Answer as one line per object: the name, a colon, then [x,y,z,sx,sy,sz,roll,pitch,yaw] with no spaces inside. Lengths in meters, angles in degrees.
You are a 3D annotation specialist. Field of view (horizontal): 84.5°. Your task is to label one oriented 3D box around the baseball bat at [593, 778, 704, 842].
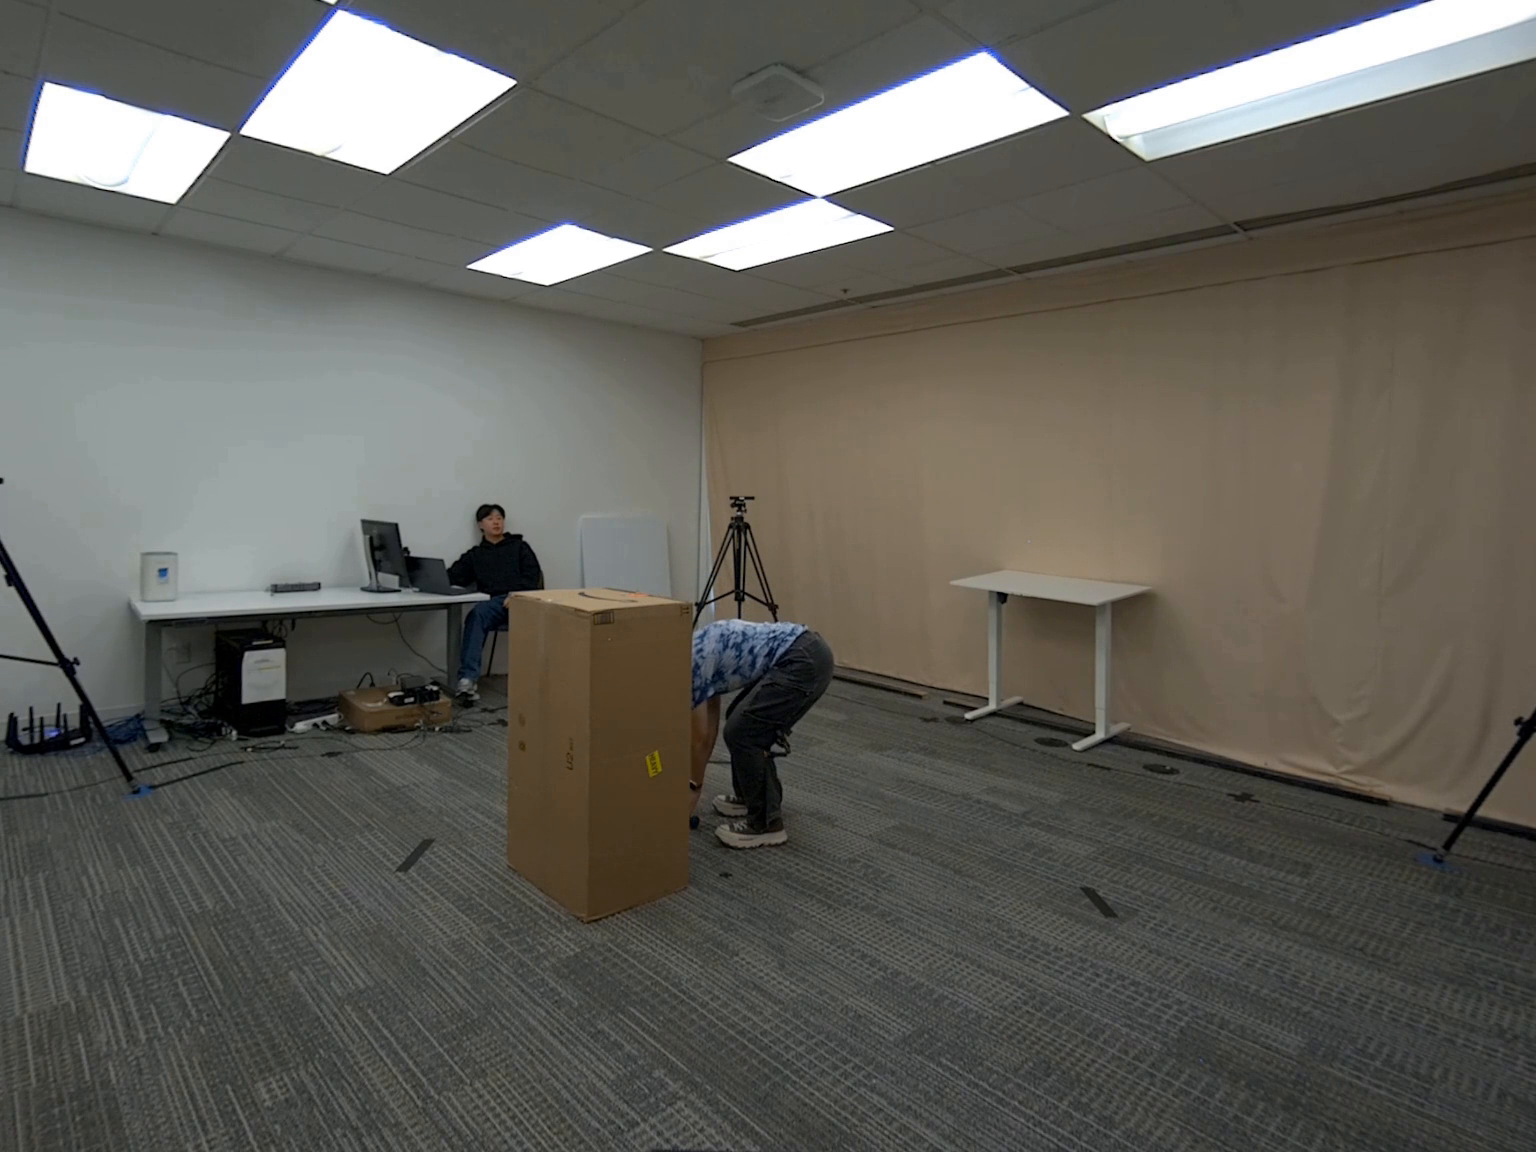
baseball bat: [-0.529,1.007,3.678,0.557,0.089,0.087,10,8,34]
